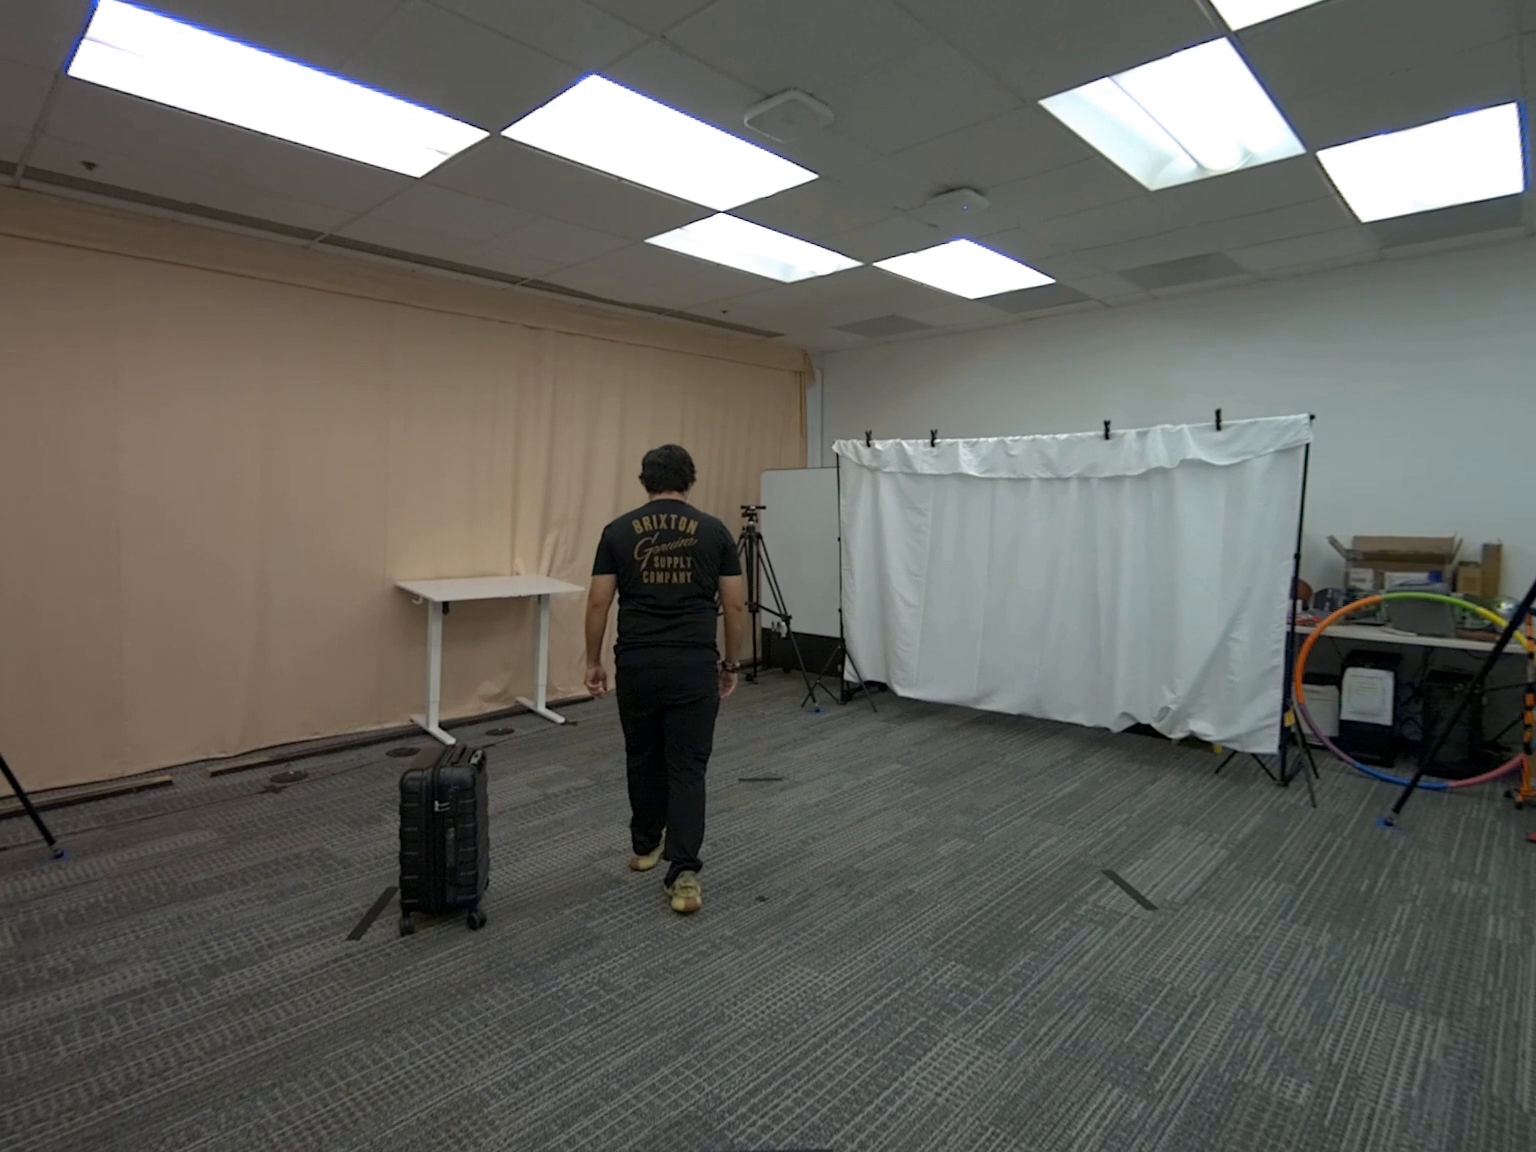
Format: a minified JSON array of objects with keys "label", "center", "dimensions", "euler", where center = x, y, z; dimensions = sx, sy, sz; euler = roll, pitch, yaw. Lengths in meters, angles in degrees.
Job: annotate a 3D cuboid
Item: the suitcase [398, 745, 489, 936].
[{"label":"suitcase","center":[-1.116,0.880,2.922],"dimensions":[0.246,0.548,0.379],"euler":[0,3,-9]}]
